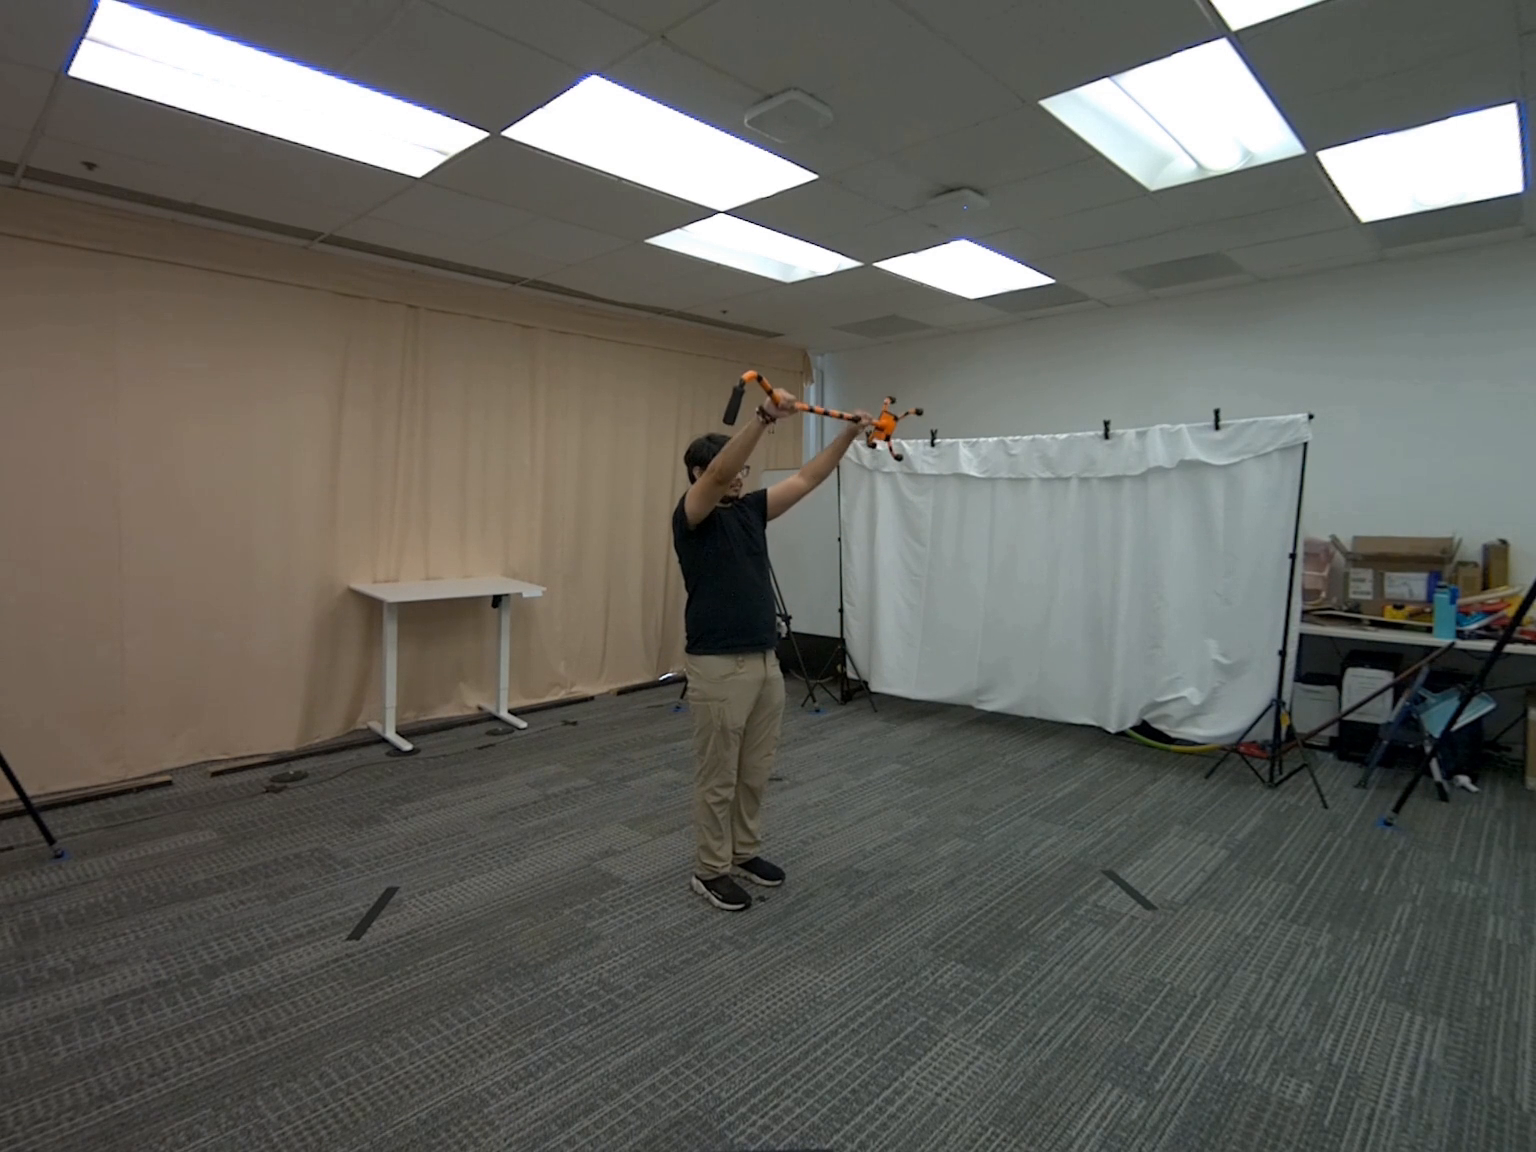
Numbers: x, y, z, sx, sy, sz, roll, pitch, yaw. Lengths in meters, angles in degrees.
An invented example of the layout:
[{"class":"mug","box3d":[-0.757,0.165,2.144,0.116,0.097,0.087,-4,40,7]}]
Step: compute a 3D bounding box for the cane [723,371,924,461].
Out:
[{"class":"cane","box3d":[0.193,-0.522,2.727,0.157,0.206,0.880,33,21,34]}]
